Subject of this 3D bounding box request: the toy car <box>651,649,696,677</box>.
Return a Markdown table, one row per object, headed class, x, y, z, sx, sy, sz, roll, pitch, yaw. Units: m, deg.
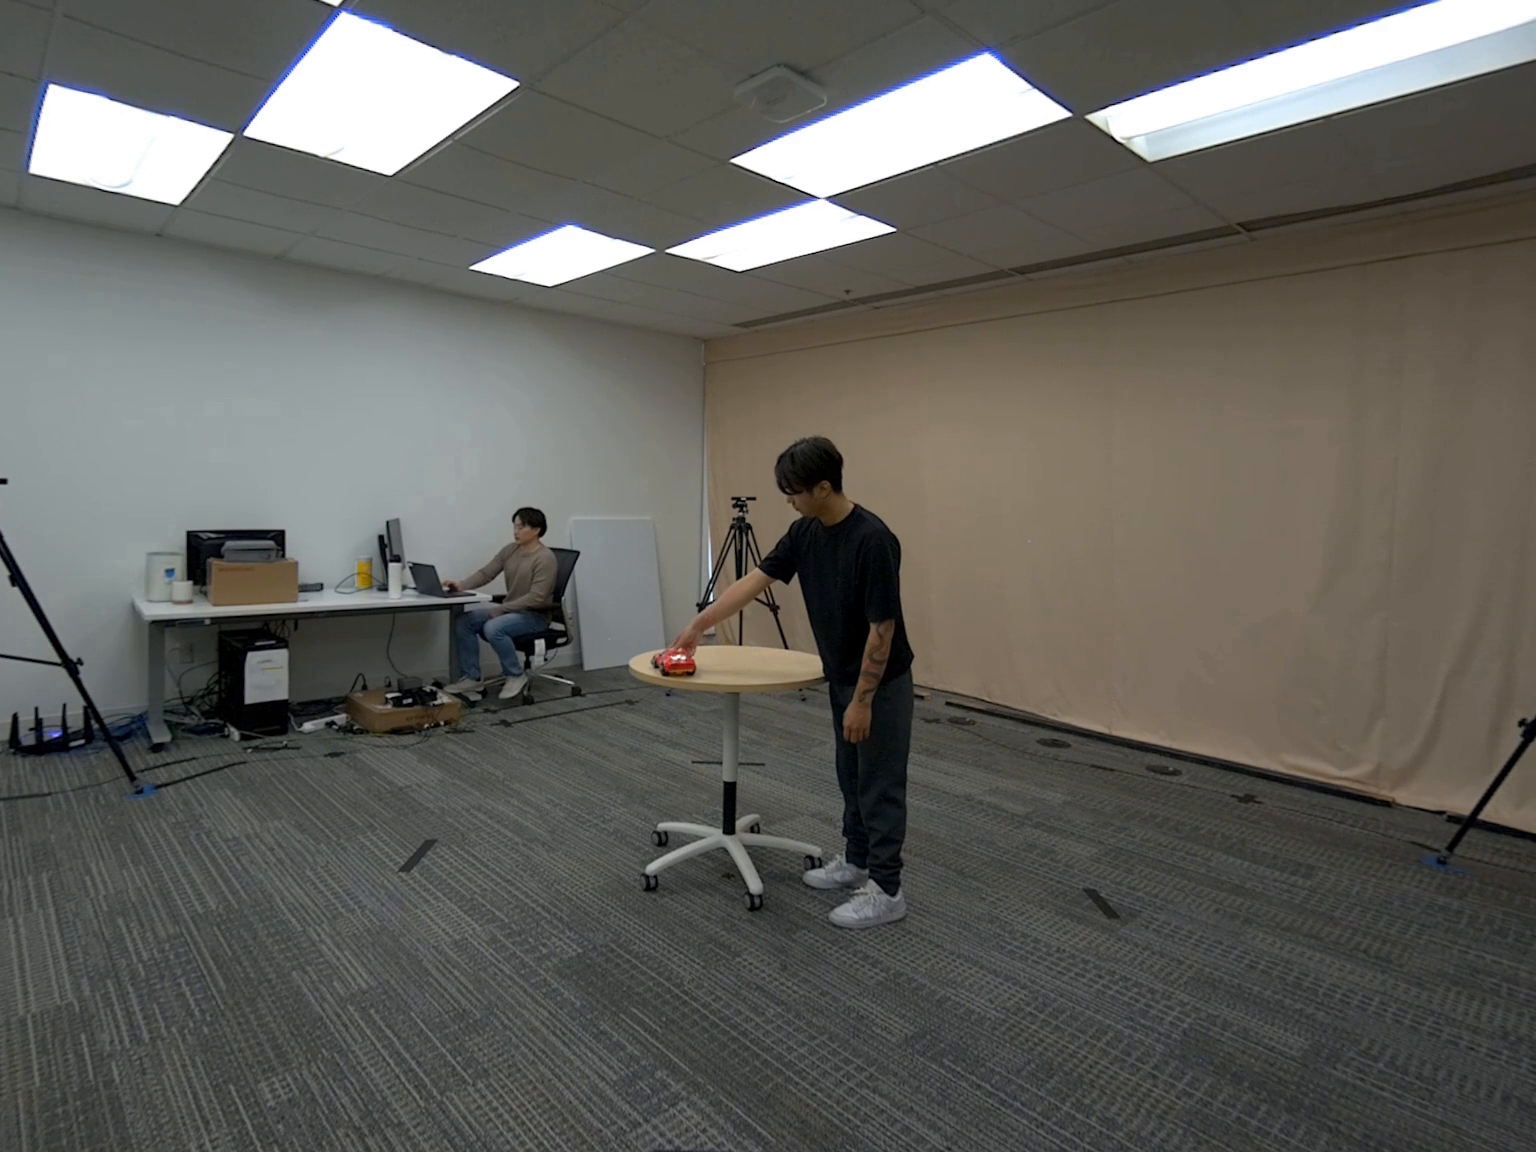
| class | x | y | z | sx | sy | sz | roll | pitch | yaw |
| --- | --- | --- | --- | --- | --- | --- | --- | --- | --- |
| toy car | -0.327 | 0.302 | 2.916 | 0.128 | 0.083 | 0.257 | -1 | -5 | -18 |
